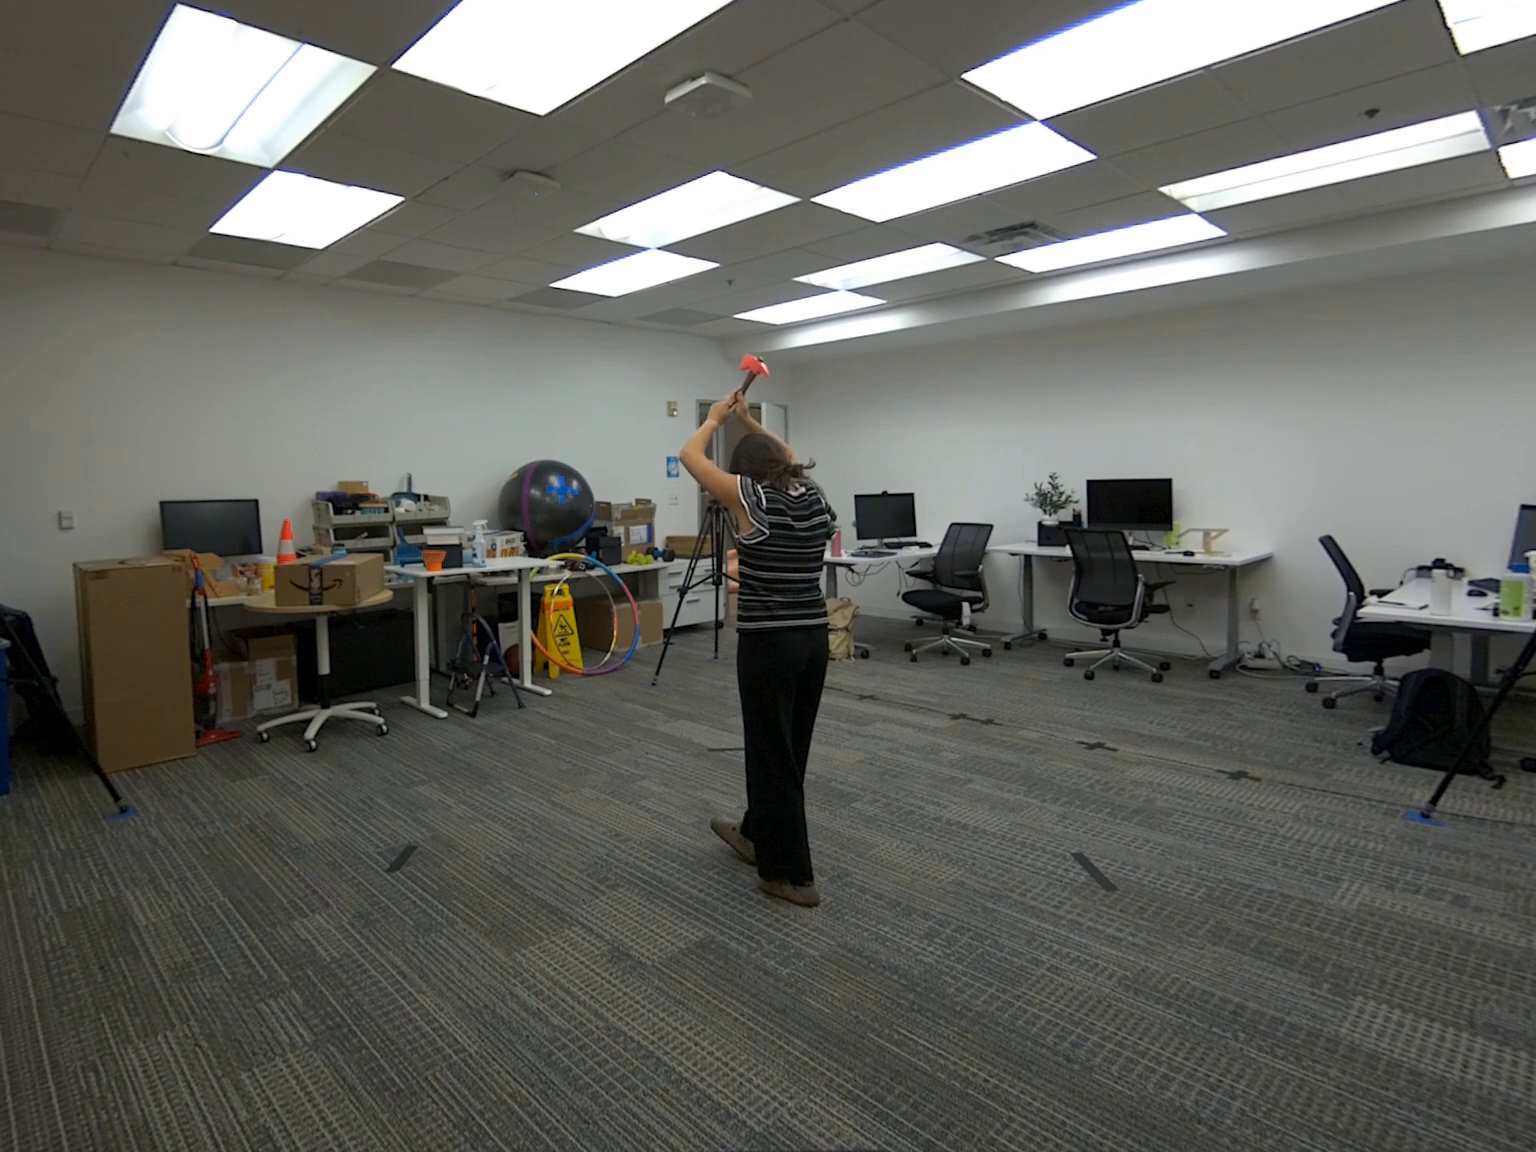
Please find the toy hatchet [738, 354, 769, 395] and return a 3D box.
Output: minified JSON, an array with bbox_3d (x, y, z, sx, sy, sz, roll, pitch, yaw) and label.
[{"bbox_3d":[-0.111,-0.696,3.062,0.272,0.134,0.029,-33,-19,32],"label":"toy hatchet"}]
